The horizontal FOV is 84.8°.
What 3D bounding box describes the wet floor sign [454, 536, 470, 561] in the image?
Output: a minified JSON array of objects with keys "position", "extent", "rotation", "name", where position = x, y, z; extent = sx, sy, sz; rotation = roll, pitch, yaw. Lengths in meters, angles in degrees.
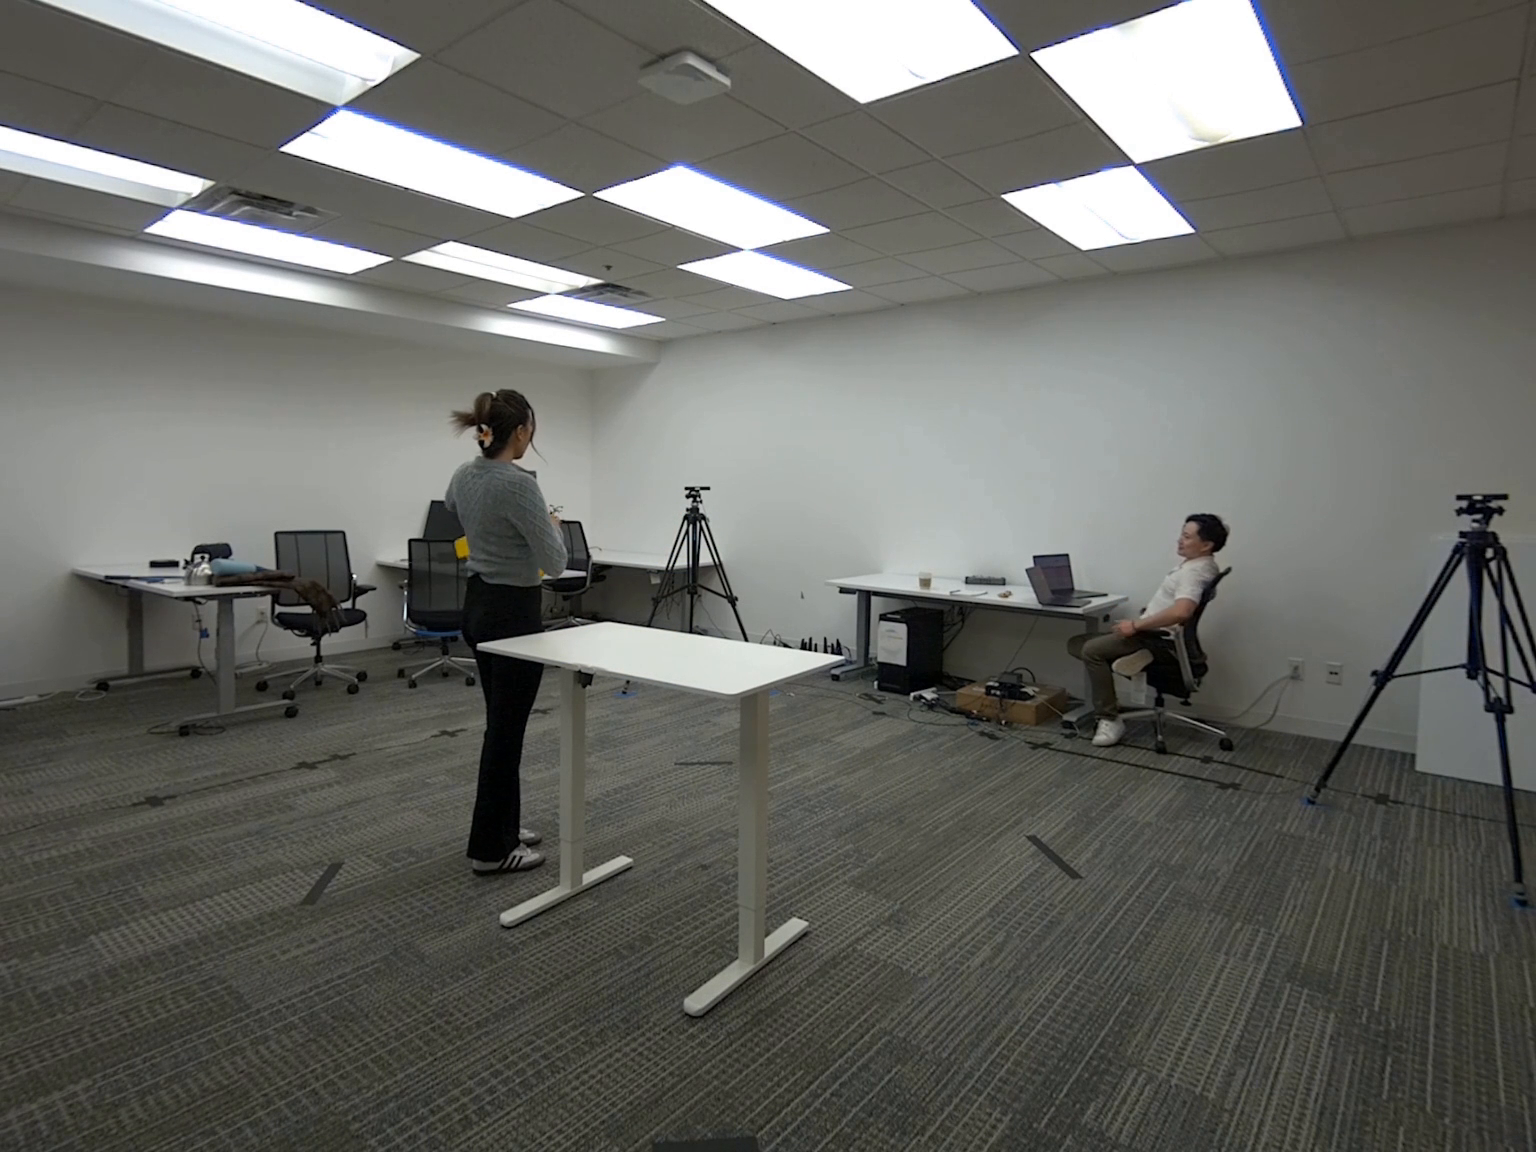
[{"position":[-1.015,-0.117,3.462],"extent":[0.283,0.284,0.657],"rotation":[-12,-6,-38],"name":"wet floor sign"}]
